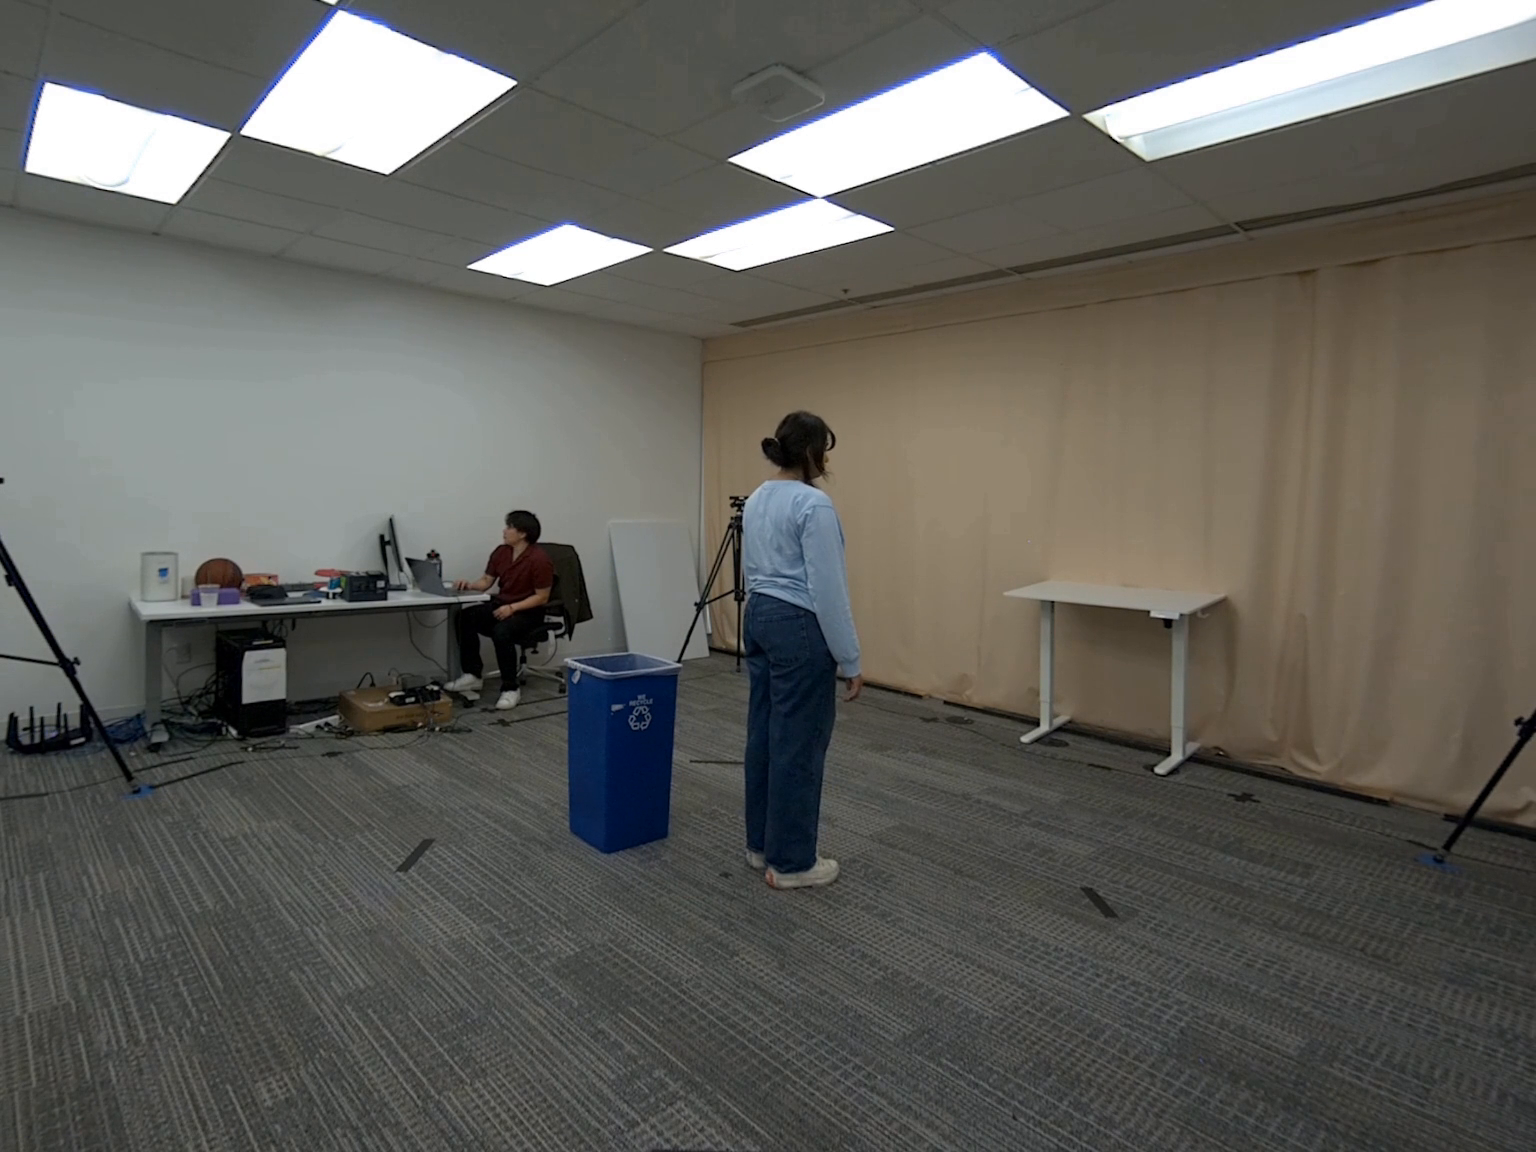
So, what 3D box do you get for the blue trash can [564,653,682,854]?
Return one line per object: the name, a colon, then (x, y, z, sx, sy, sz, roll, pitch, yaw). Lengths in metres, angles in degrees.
blue trash can: (-0.604, 0.705, 3.457, 0.365, 0.712, 0.388, -1, 5, -40)
